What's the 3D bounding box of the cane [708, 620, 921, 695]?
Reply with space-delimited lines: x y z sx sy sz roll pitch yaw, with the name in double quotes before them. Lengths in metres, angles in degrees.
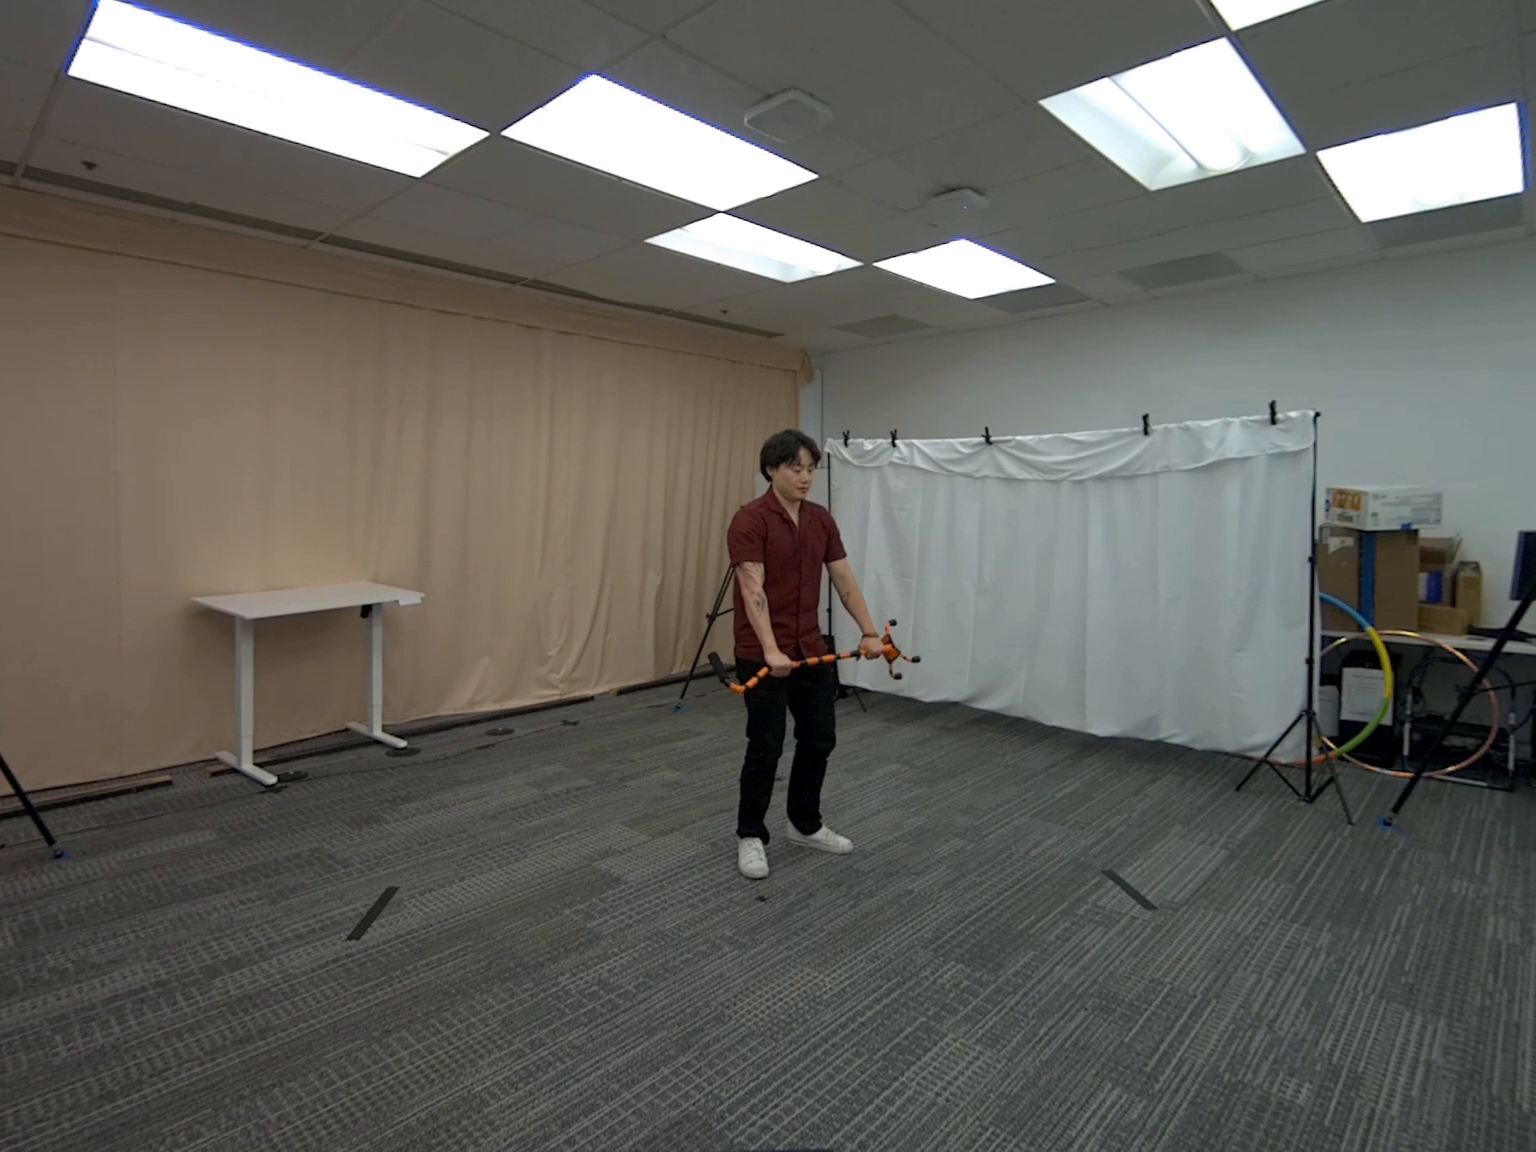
"cane" 0.188 0.316 3.094 0.881 0.212 0.152 -5 -35 -38
